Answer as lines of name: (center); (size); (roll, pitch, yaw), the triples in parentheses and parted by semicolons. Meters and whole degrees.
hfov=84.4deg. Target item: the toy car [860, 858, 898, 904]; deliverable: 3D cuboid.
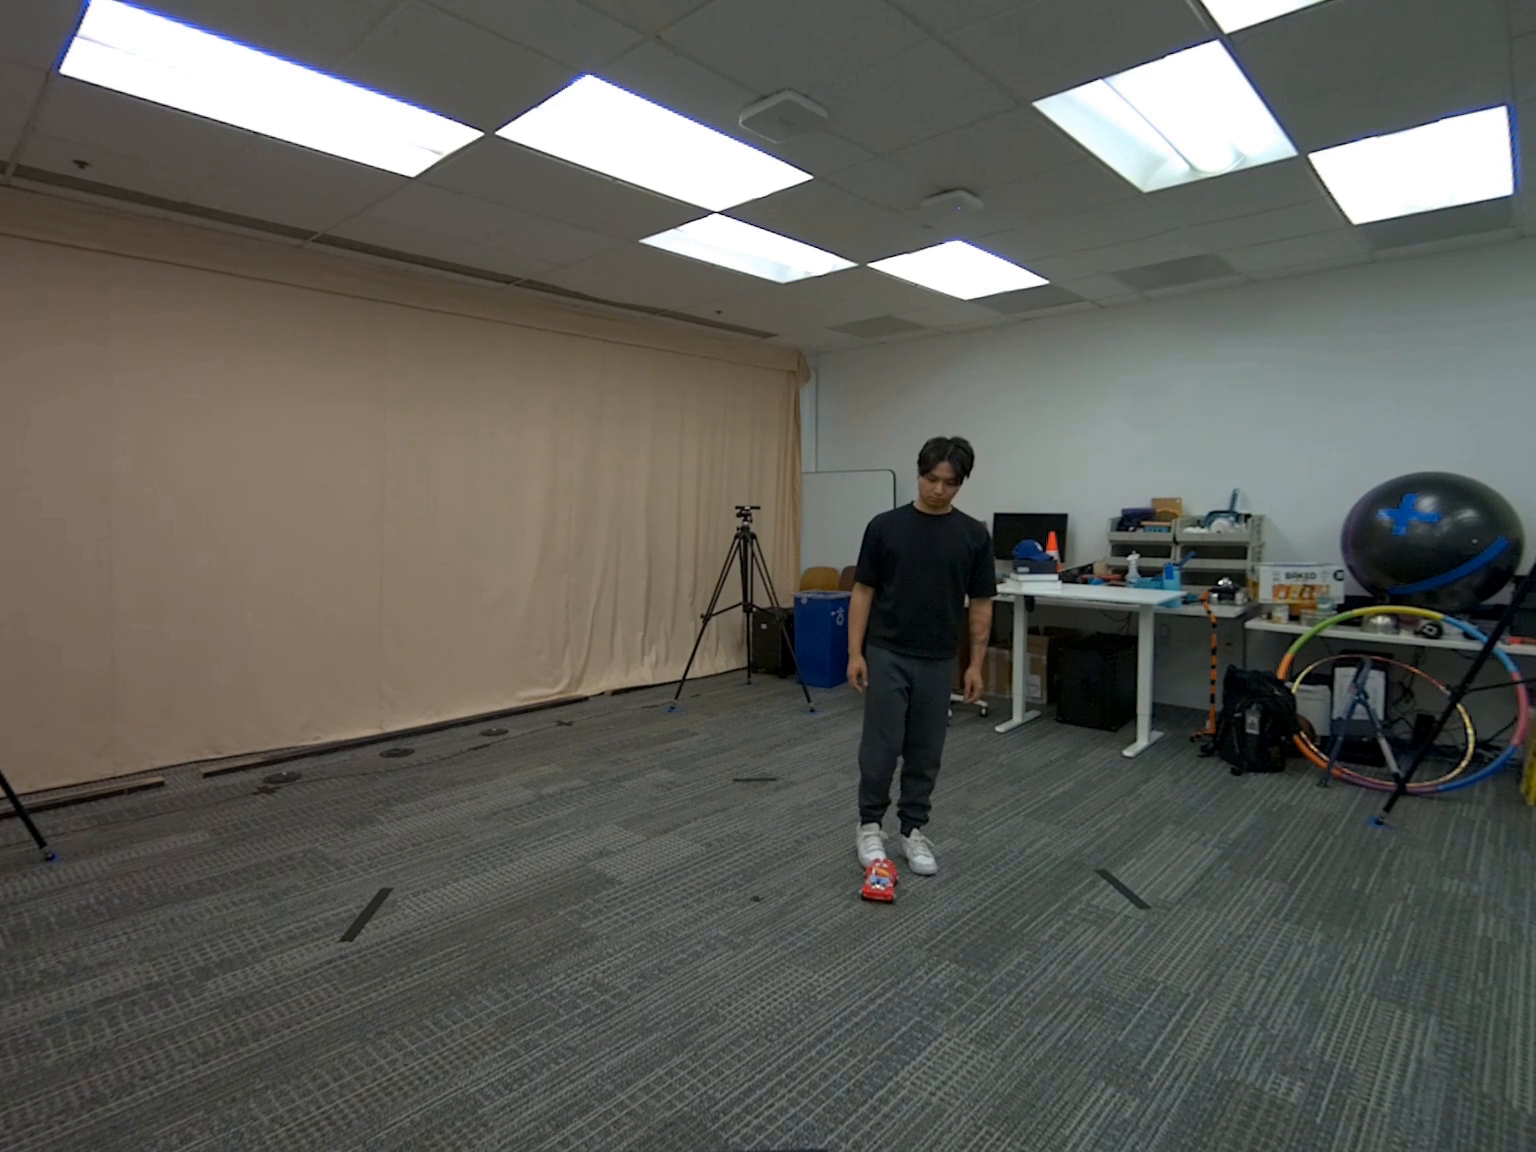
toy car: (0.409, 1.104, 3.053); (0.132, 0.082, 0.253); (-1, 16, 13)
